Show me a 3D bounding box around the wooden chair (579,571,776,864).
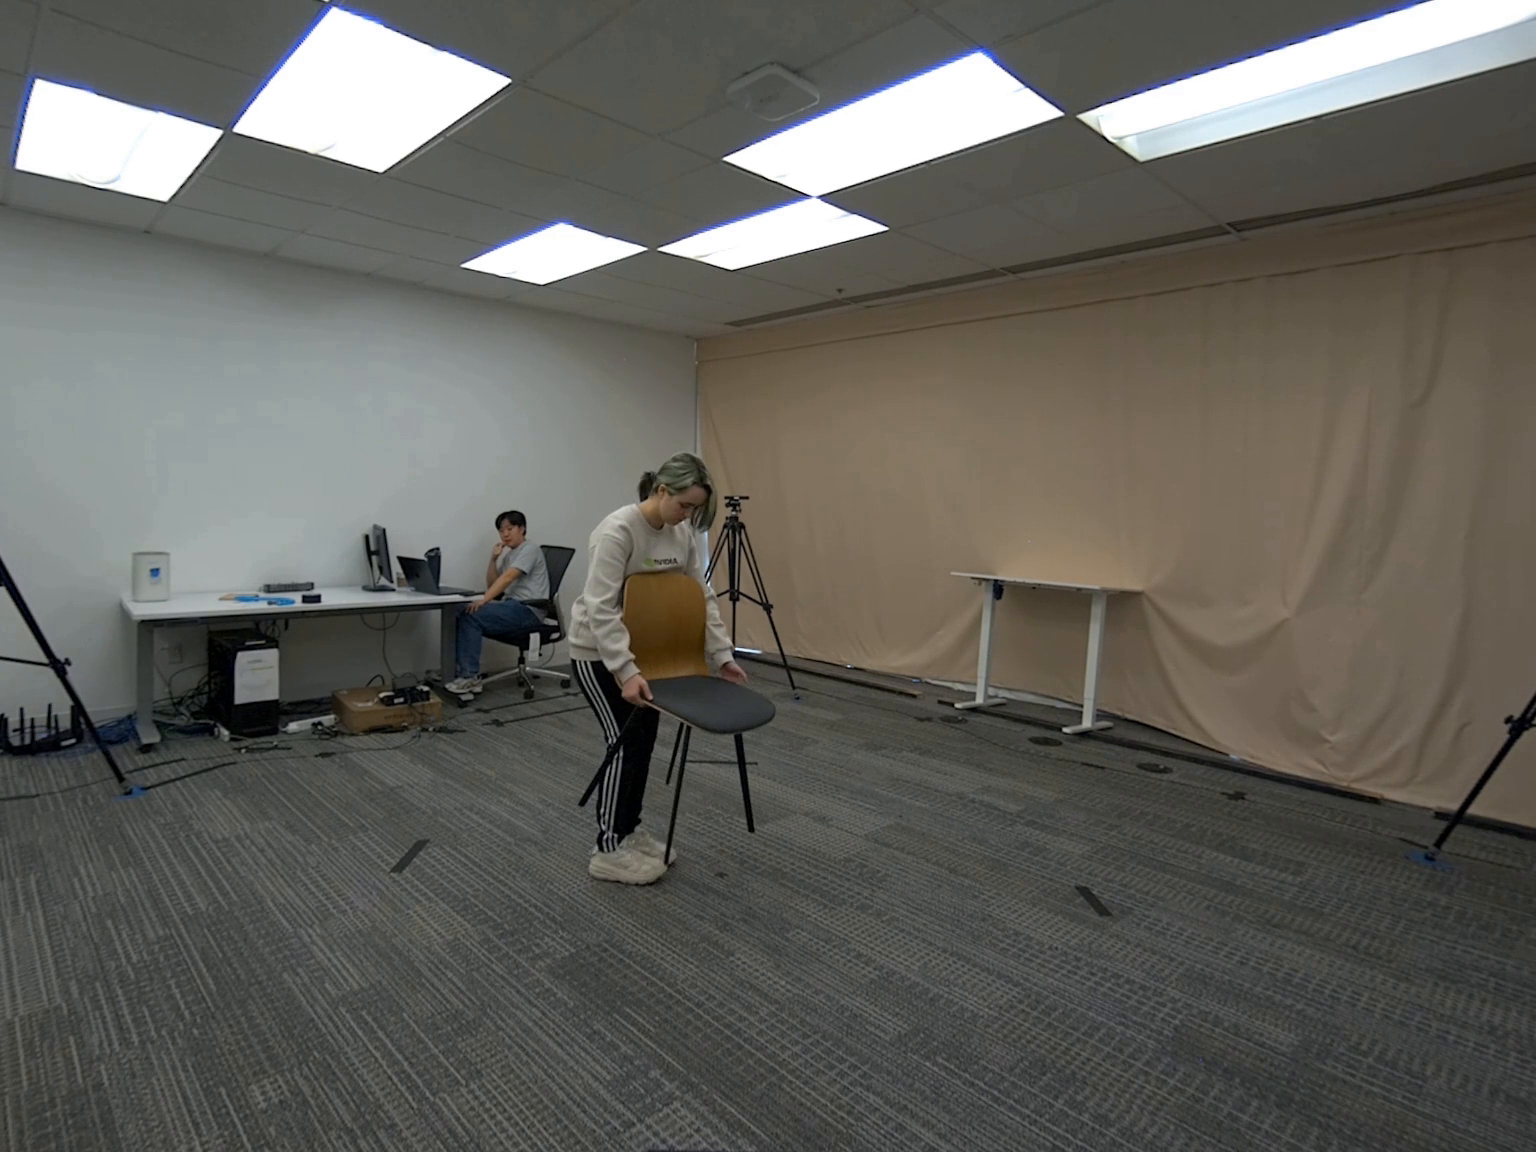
[{"bbox_3d":[-0.279,0.464,2.937,0.537,0.875,0.466,11,6,38],"label":"wooden chair"}]
